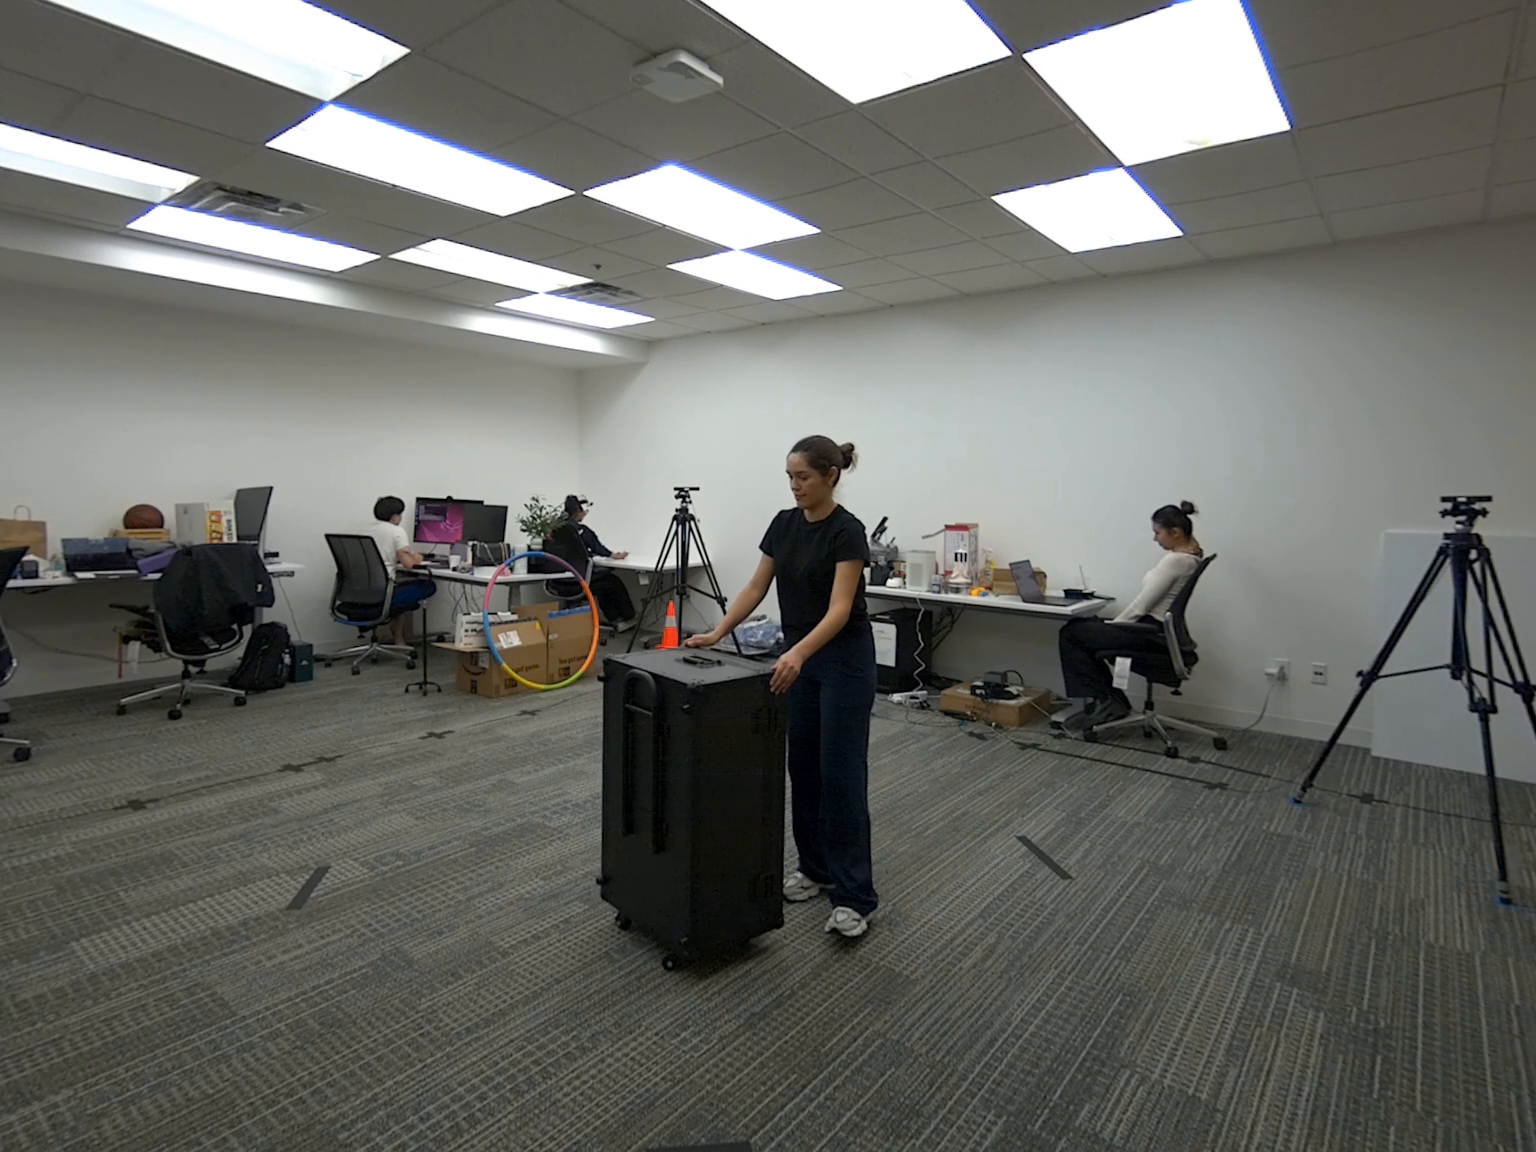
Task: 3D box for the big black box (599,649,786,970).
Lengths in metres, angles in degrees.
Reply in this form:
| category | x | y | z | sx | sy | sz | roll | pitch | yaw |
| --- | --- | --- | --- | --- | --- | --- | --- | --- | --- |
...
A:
| category | x | y | z | sx | sy | sz | roll | pitch | yaw |
| --- | --- | --- | --- | --- | --- | --- | --- | --- | --- |
| big black box | -0.232 | 0.688 | 2.626 | 0.385 | 0.859 | 0.538 | -3 | 5 | -39 |
